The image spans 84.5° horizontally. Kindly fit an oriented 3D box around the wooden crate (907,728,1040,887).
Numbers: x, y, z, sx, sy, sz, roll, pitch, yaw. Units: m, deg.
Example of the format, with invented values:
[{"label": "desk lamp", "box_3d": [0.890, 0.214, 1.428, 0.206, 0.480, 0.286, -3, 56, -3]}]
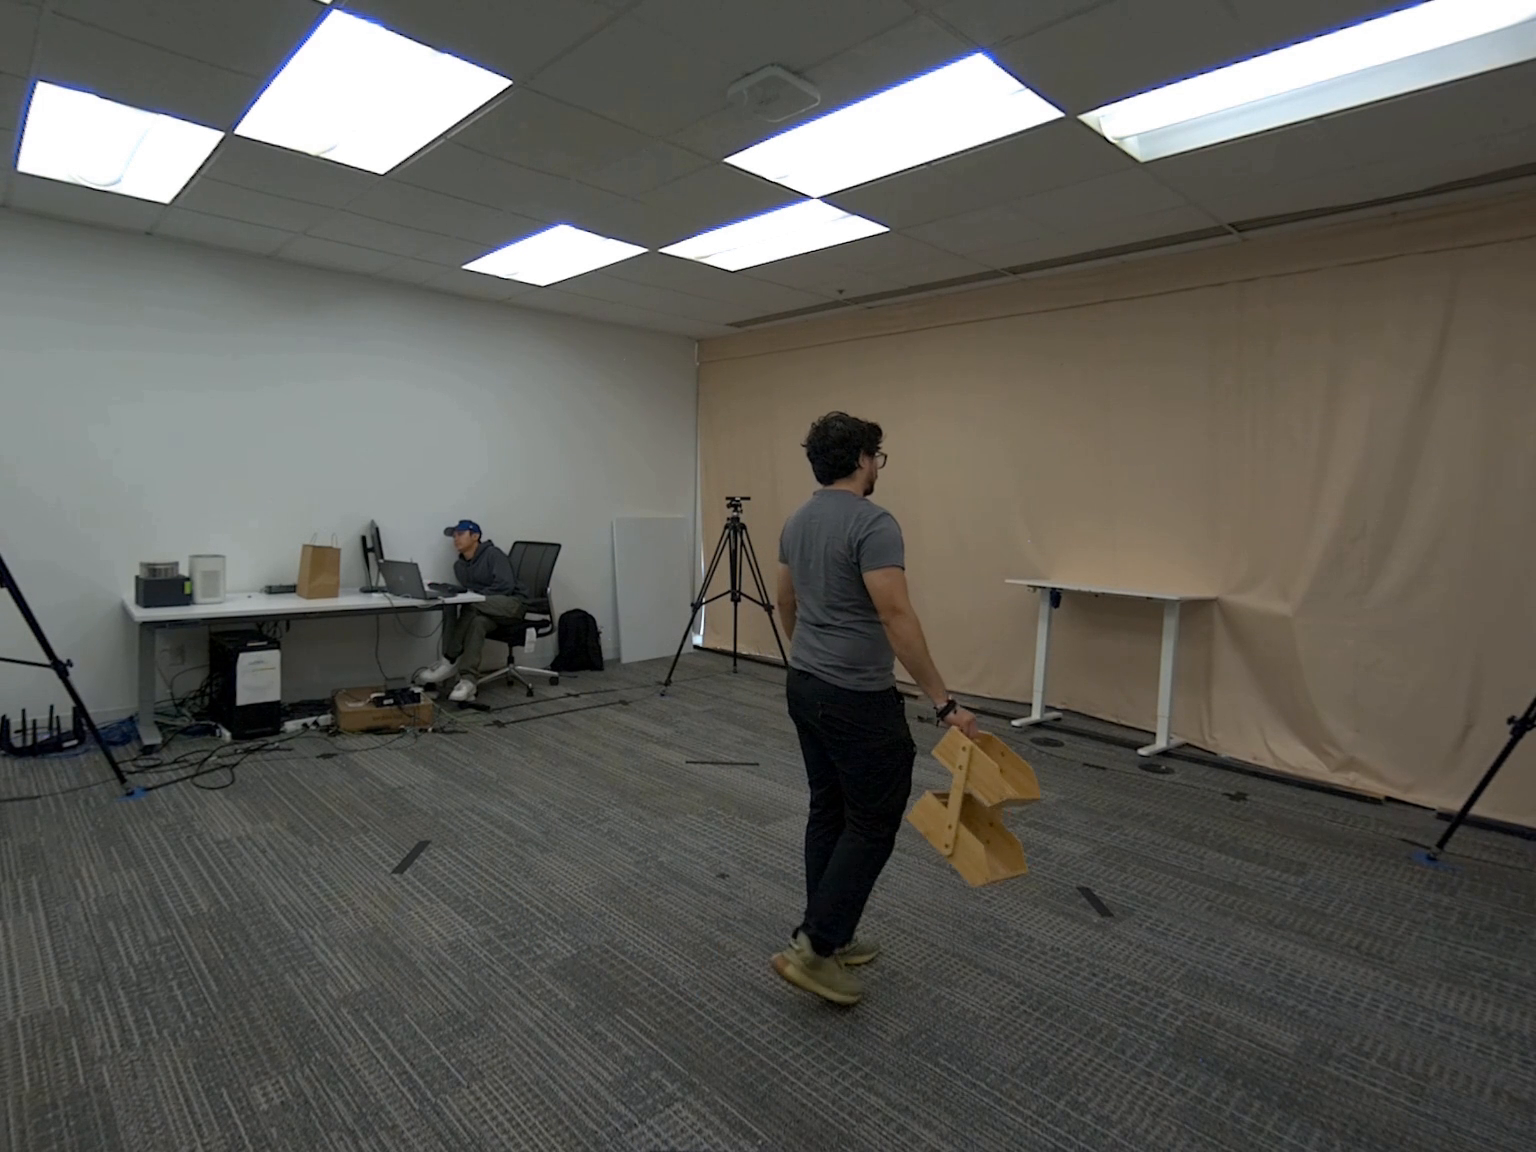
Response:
[{"label": "wooden crate", "box_3d": [0.561, 0.600, 2.183, 0.311, 0.273, 0.315, 42, 12, 33]}]
